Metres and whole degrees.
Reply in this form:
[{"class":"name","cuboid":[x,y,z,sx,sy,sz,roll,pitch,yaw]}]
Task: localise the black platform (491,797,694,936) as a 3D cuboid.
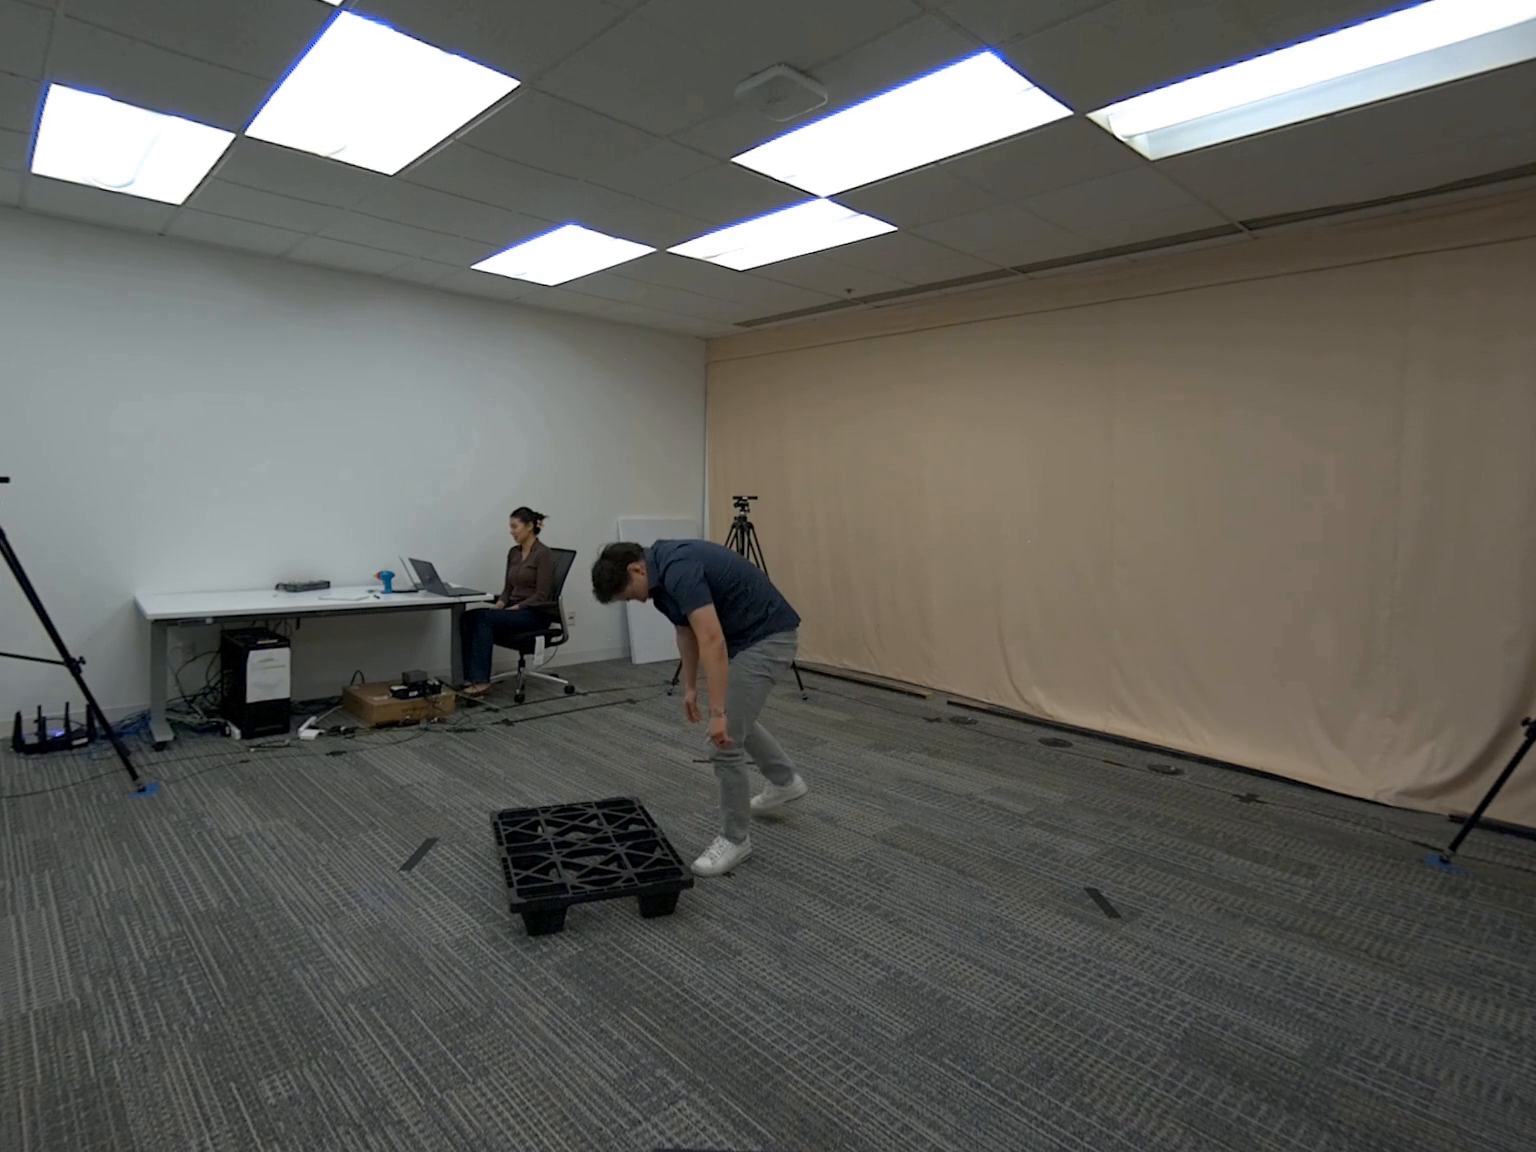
[{"class":"black platform","cuboid":[-0.680,1.031,3.049,0.595,0.143,0.821,-1,6,-22]}]
